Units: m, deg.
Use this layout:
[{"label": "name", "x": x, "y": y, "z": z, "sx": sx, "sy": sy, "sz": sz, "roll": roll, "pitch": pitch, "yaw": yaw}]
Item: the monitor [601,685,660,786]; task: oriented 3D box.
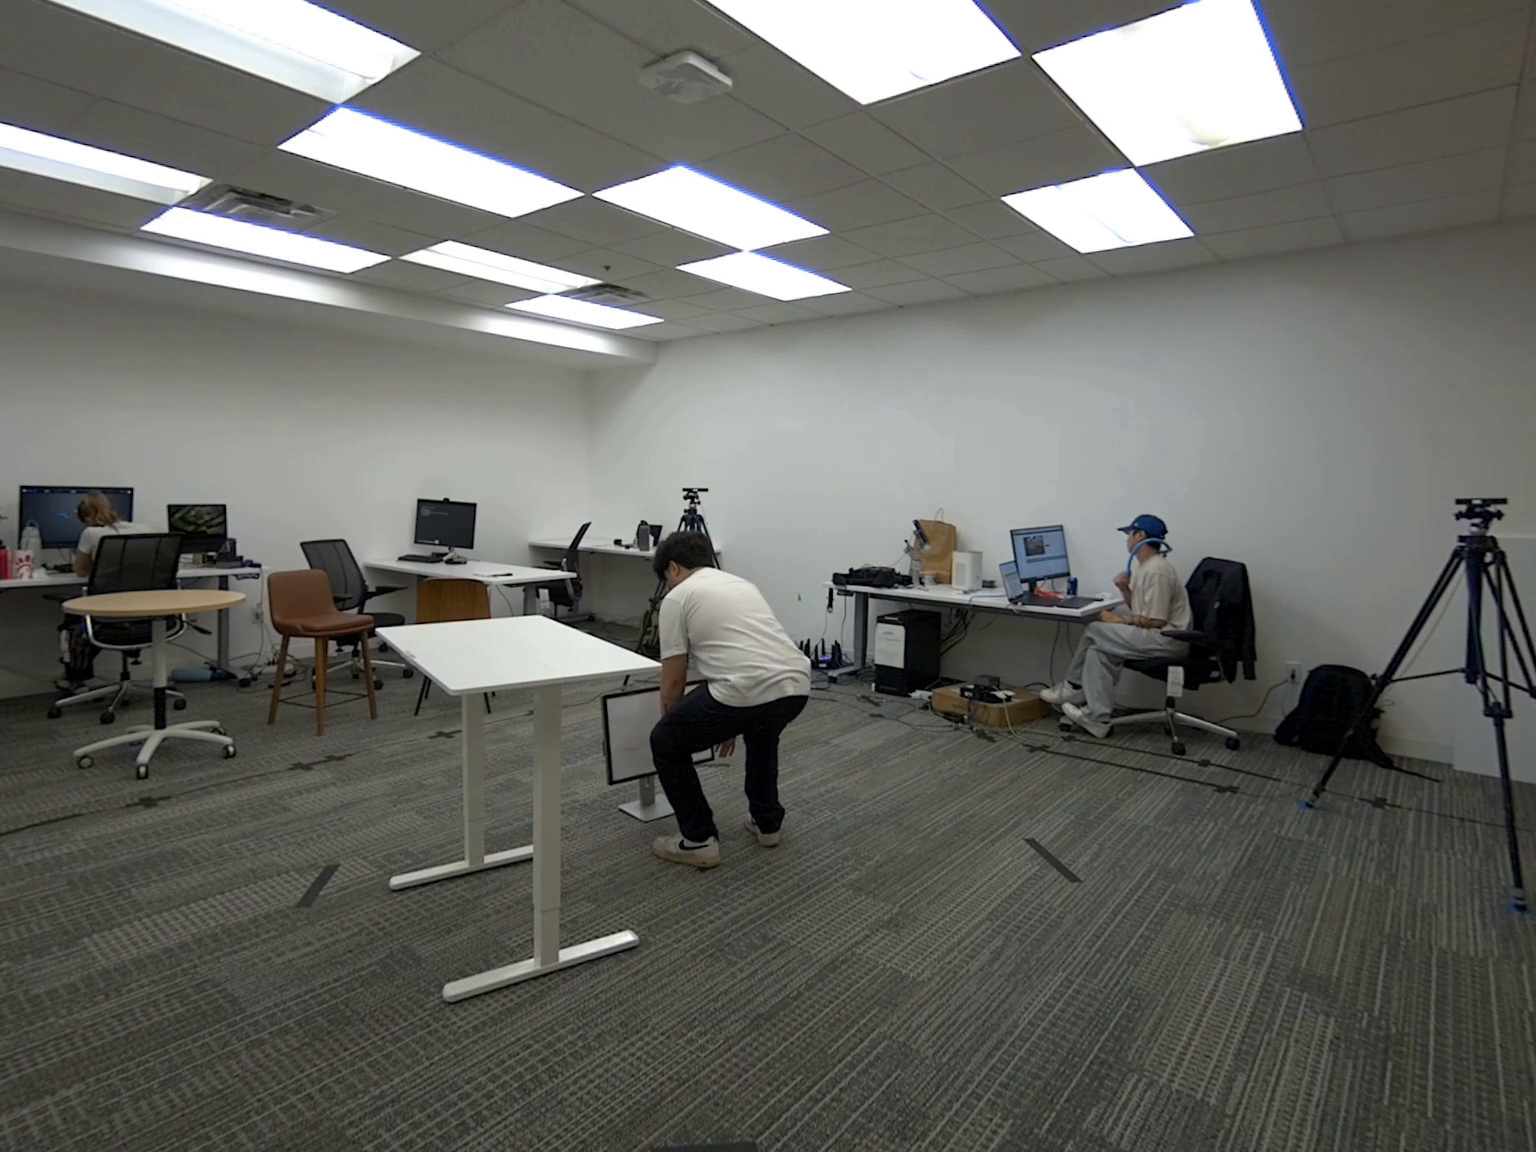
[{"label": "monitor", "x": -0.526, "y": 0.745, "z": 3.699, "sx": 0.548, "sy": 0.554, "sz": 0.216, "roll": -3, "pitch": -1, "yaw": -42}]
